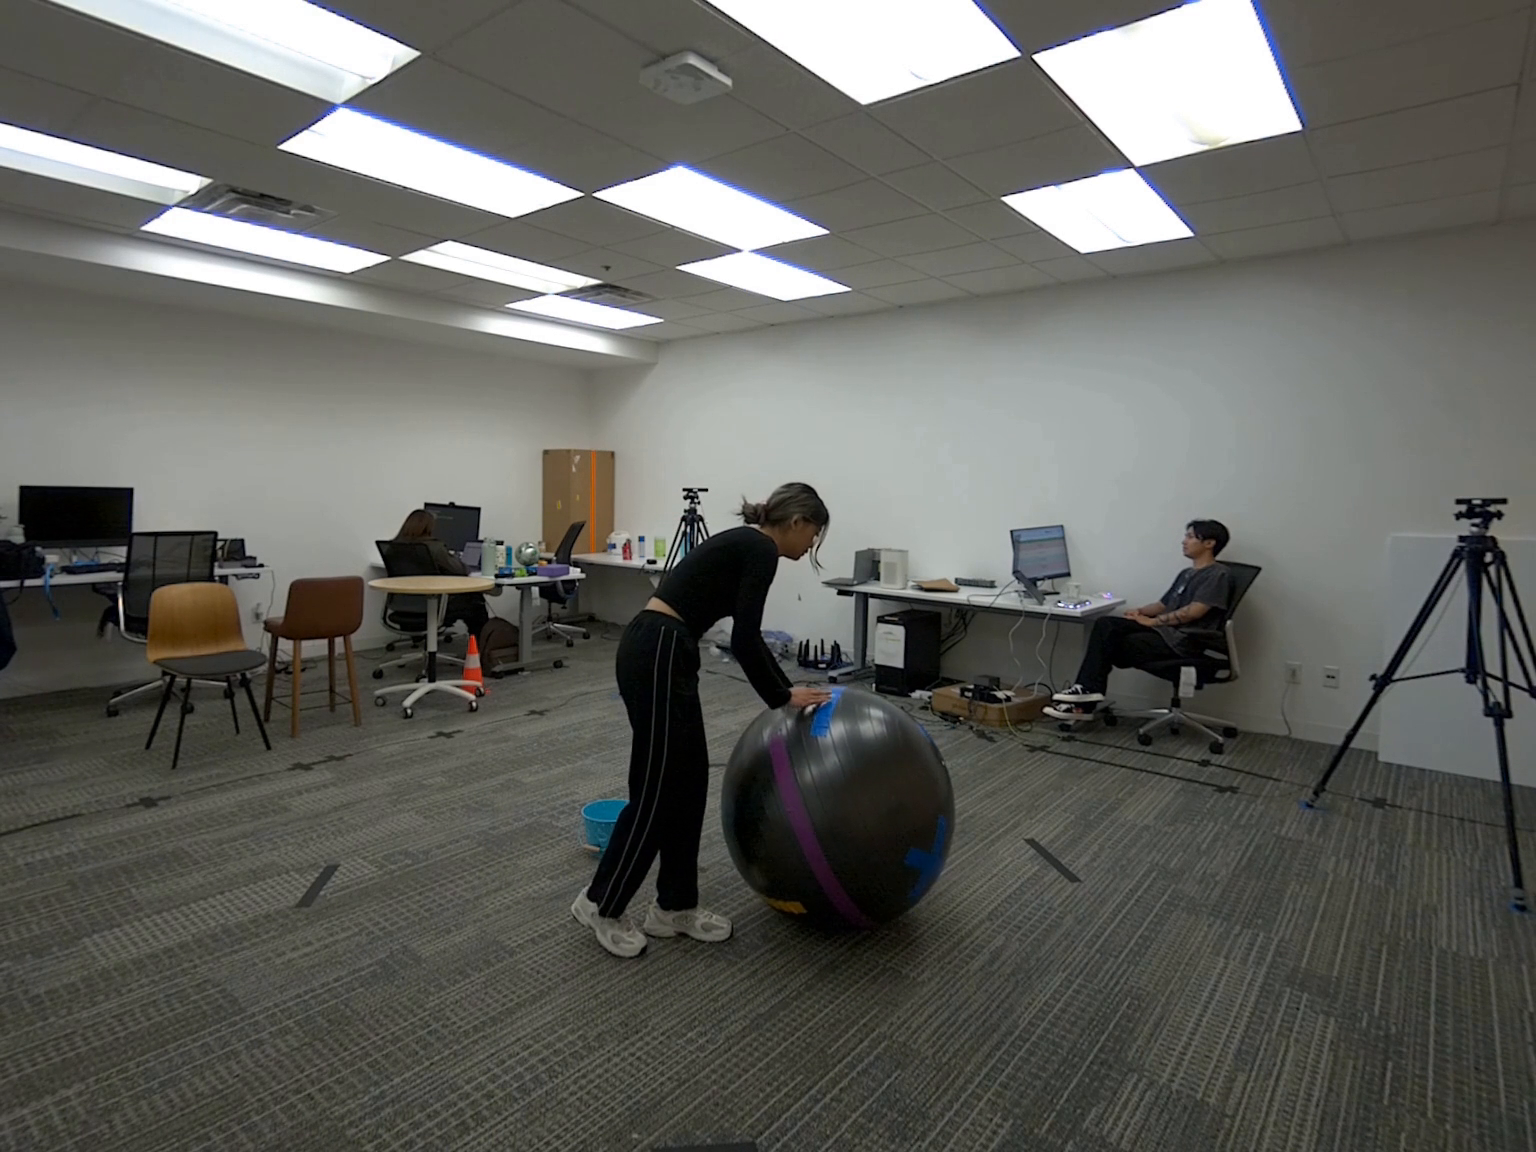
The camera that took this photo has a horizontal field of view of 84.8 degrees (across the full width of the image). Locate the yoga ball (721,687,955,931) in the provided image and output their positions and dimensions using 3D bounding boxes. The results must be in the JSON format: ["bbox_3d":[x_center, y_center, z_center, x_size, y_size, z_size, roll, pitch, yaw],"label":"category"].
[{"bbox_3d":[0.213,0.743,2.776,0.757,0.755,0.762,1,4,-2],"label":"yoga ball"}]
